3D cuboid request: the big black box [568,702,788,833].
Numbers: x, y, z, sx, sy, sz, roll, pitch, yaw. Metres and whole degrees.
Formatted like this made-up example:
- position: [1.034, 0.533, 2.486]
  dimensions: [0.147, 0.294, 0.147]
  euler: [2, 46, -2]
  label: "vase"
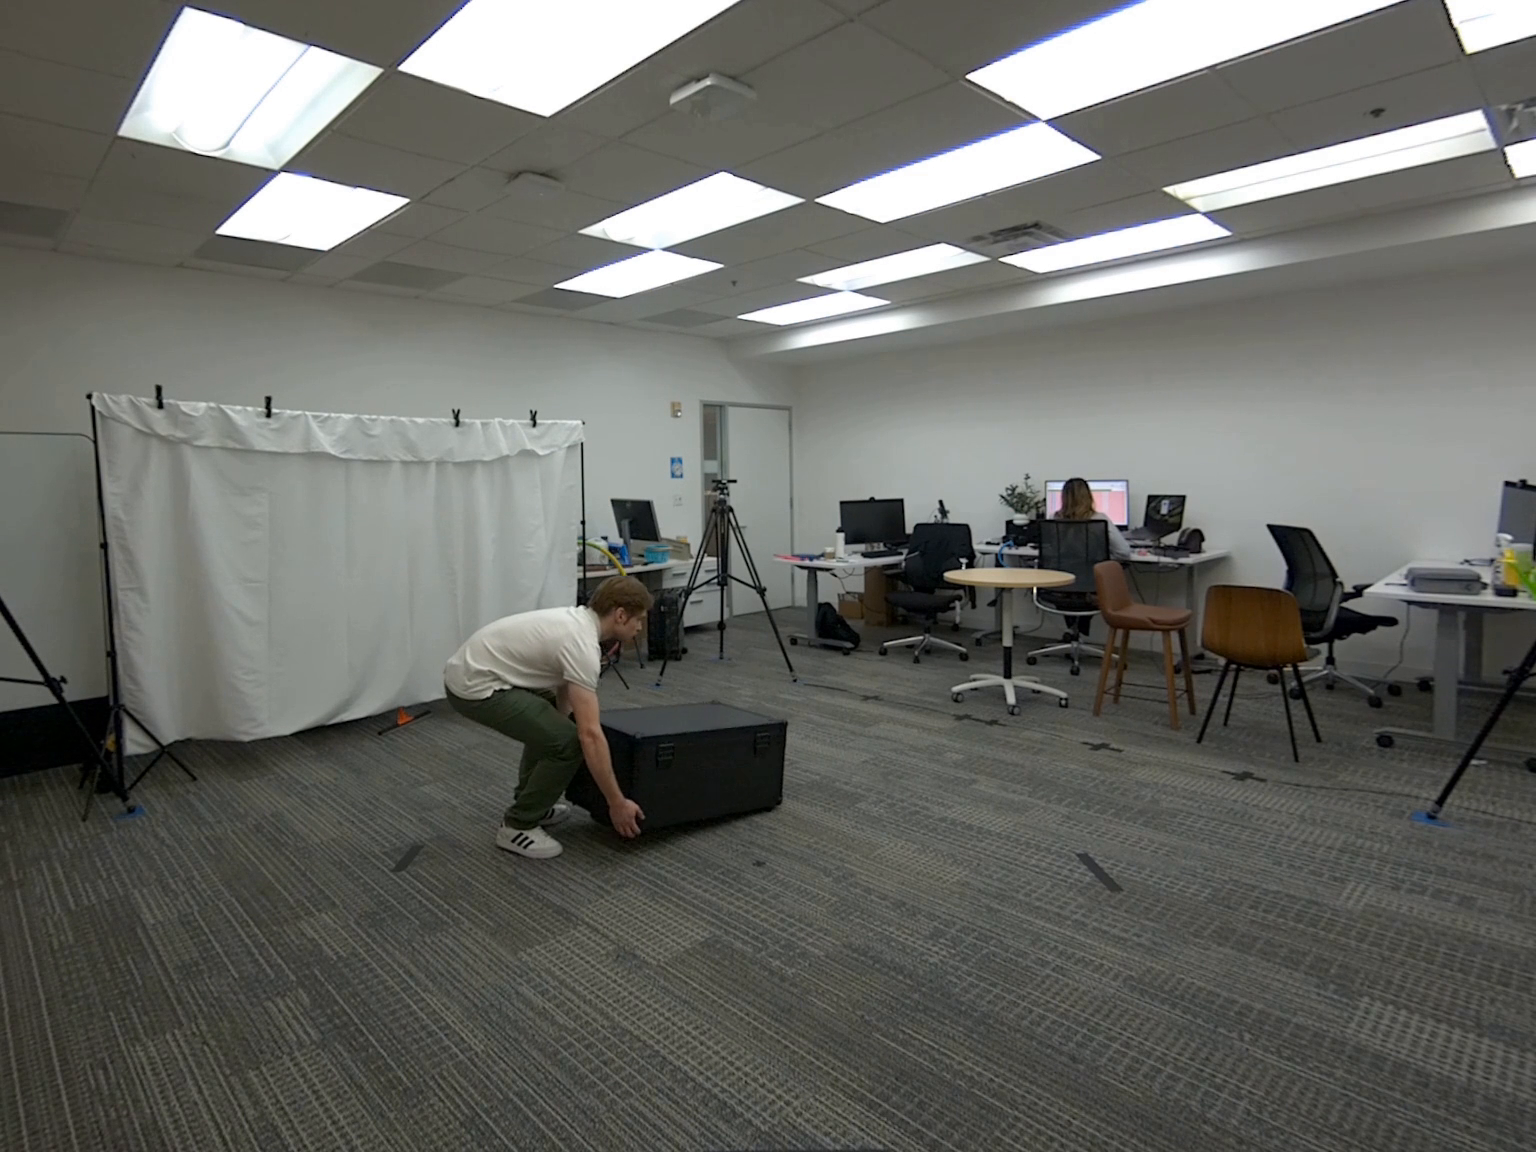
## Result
- position: [-0.337, 0.778, 3.597]
  dimensions: [0.836, 0.396, 0.537]
  euler: [0, 2, -43]
  label: "big black box"
